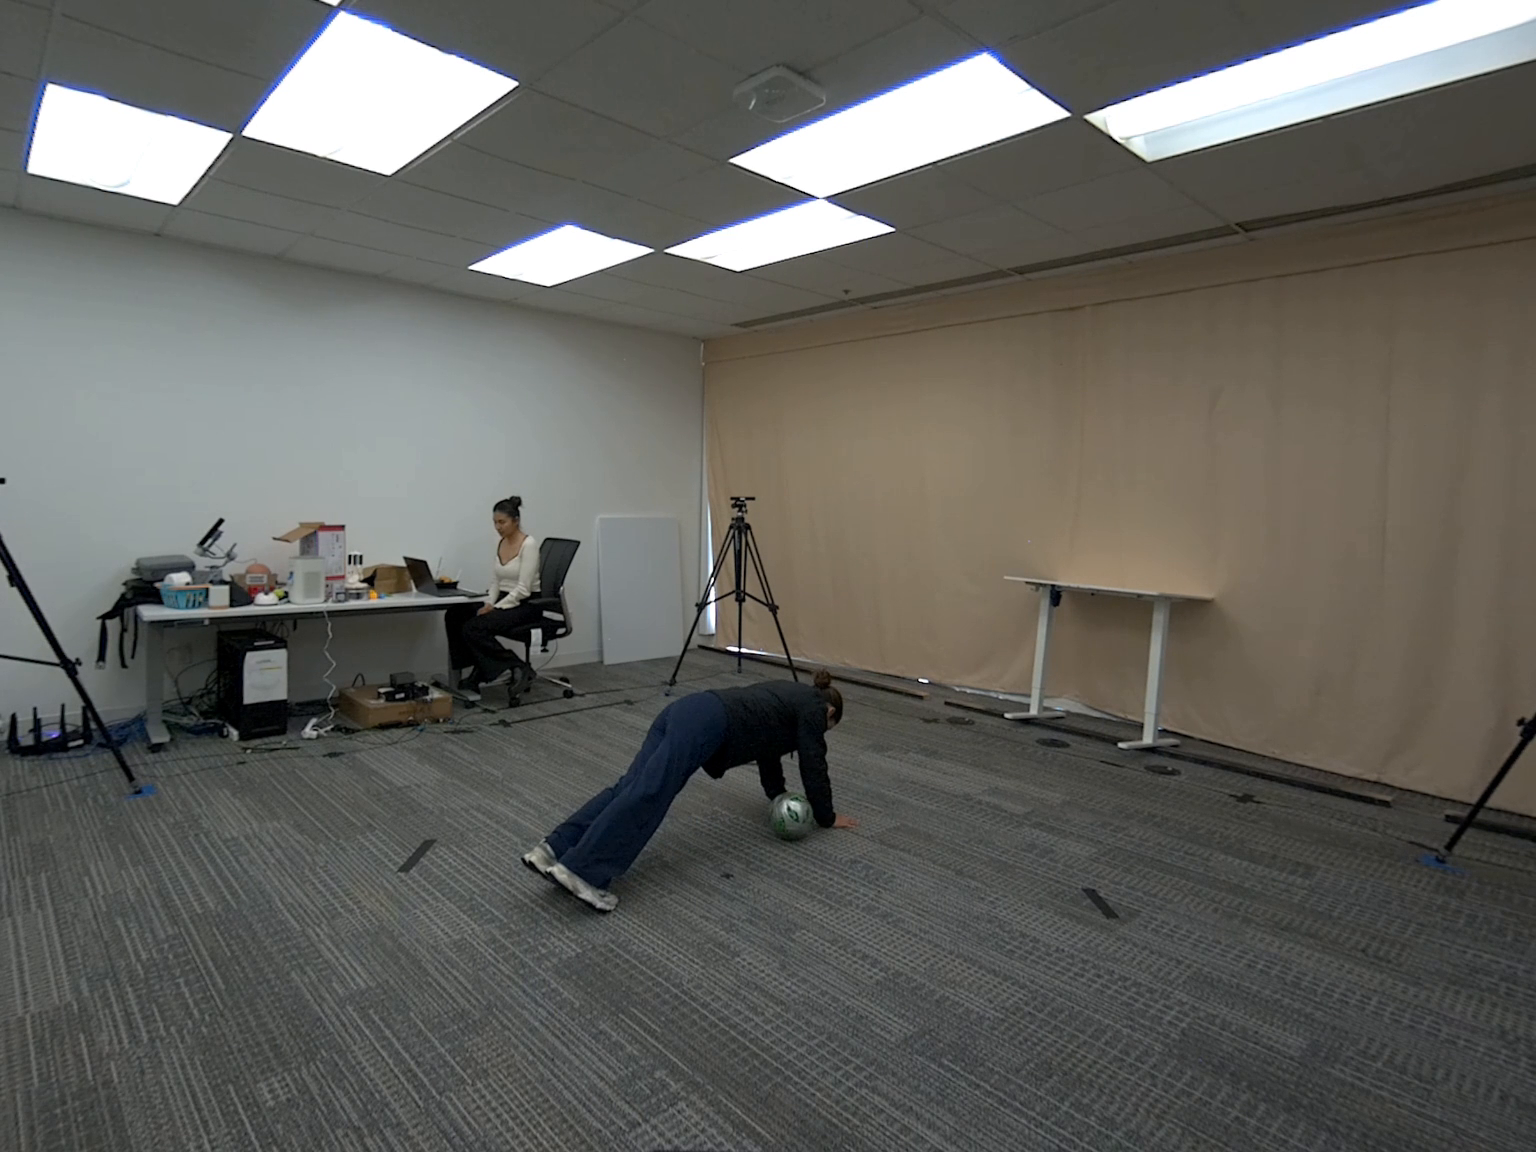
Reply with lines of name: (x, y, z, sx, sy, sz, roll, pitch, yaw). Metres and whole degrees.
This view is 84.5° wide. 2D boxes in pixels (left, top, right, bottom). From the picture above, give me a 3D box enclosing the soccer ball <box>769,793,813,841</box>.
soccer ball: (0.083, 0.993, 3.458, 0.187, 0.187, 0.188, 1, 4, -1)
